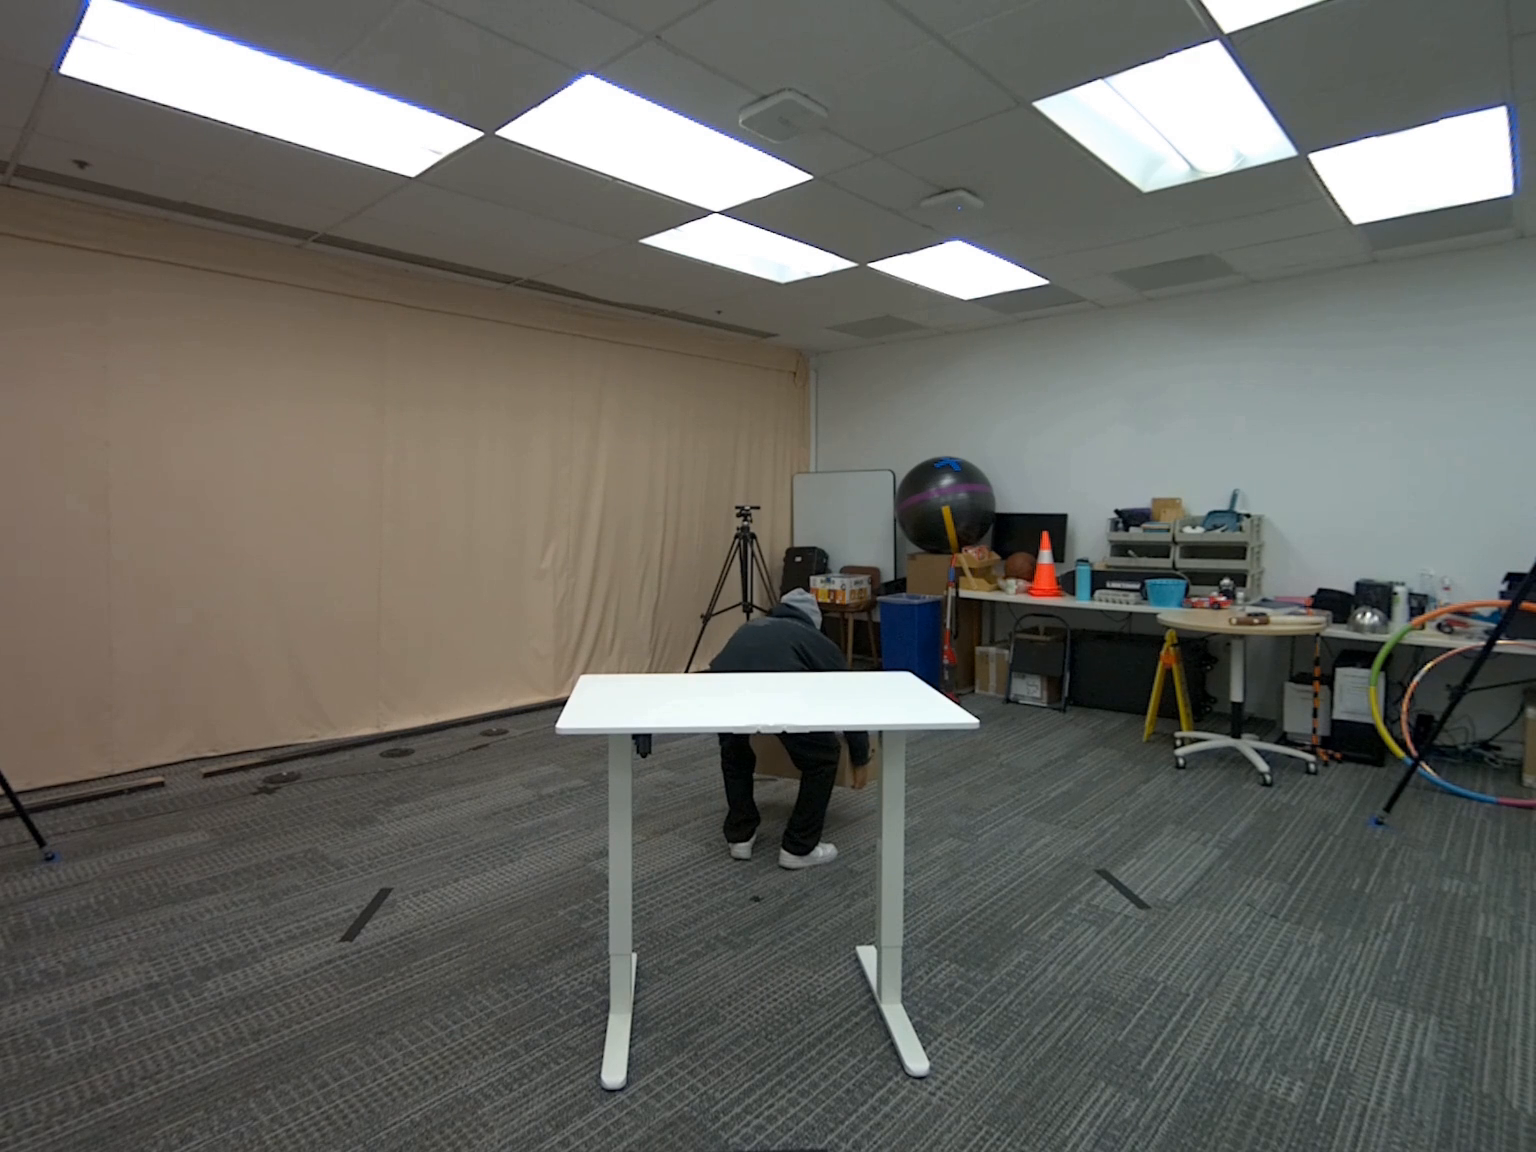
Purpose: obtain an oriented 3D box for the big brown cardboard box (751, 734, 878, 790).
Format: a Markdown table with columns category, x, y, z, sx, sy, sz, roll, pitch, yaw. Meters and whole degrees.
| category | x | y | z | sx | sy | sz | roll | pitch | yaw |
| --- | --- | --- | --- | --- | --- | --- | --- | --- | --- |
| big brown cardboard box | 0.169 | 0.770 | 3.755 | 0.605 | 0.234 | 0.405 | 1 | -7 | 27 |
